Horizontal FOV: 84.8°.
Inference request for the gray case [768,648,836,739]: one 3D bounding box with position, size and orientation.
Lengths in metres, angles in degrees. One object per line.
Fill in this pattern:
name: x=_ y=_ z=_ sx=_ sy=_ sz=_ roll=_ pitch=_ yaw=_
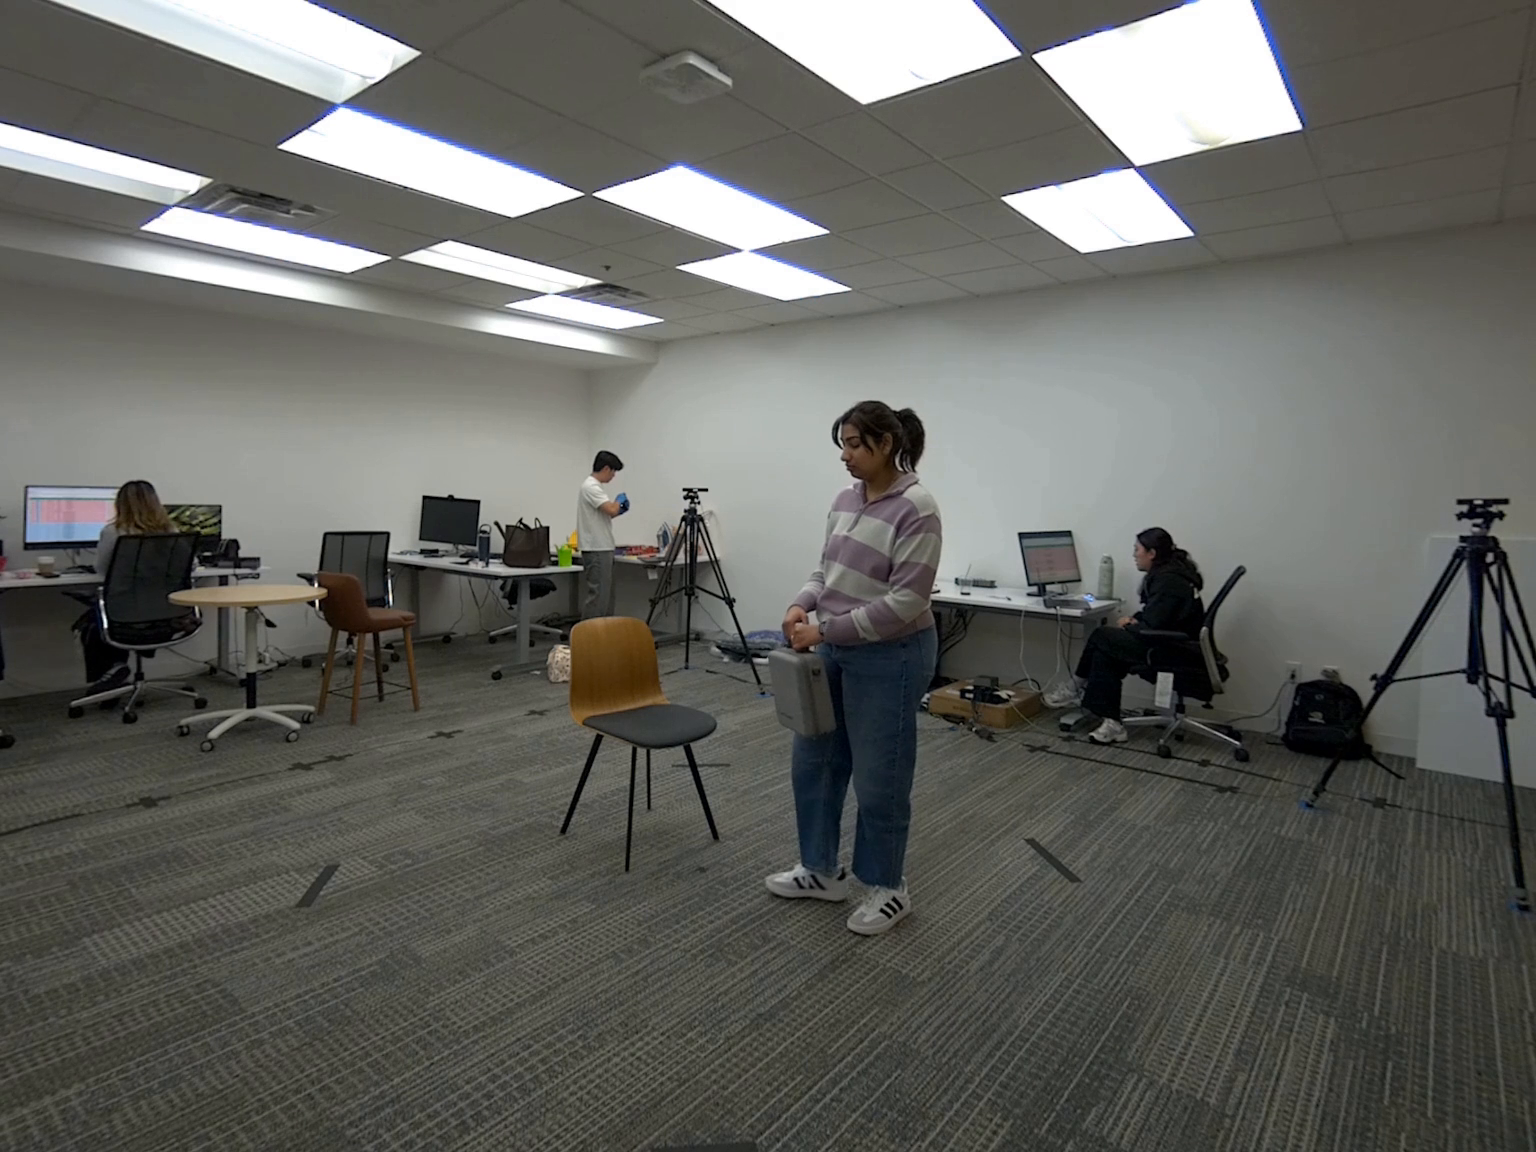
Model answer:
gray case: x=0.088 y=0.351 z=2.668 sx=0.102 sy=0.259 sz=0.262 roll=-10 pitch=5 yaw=-21
